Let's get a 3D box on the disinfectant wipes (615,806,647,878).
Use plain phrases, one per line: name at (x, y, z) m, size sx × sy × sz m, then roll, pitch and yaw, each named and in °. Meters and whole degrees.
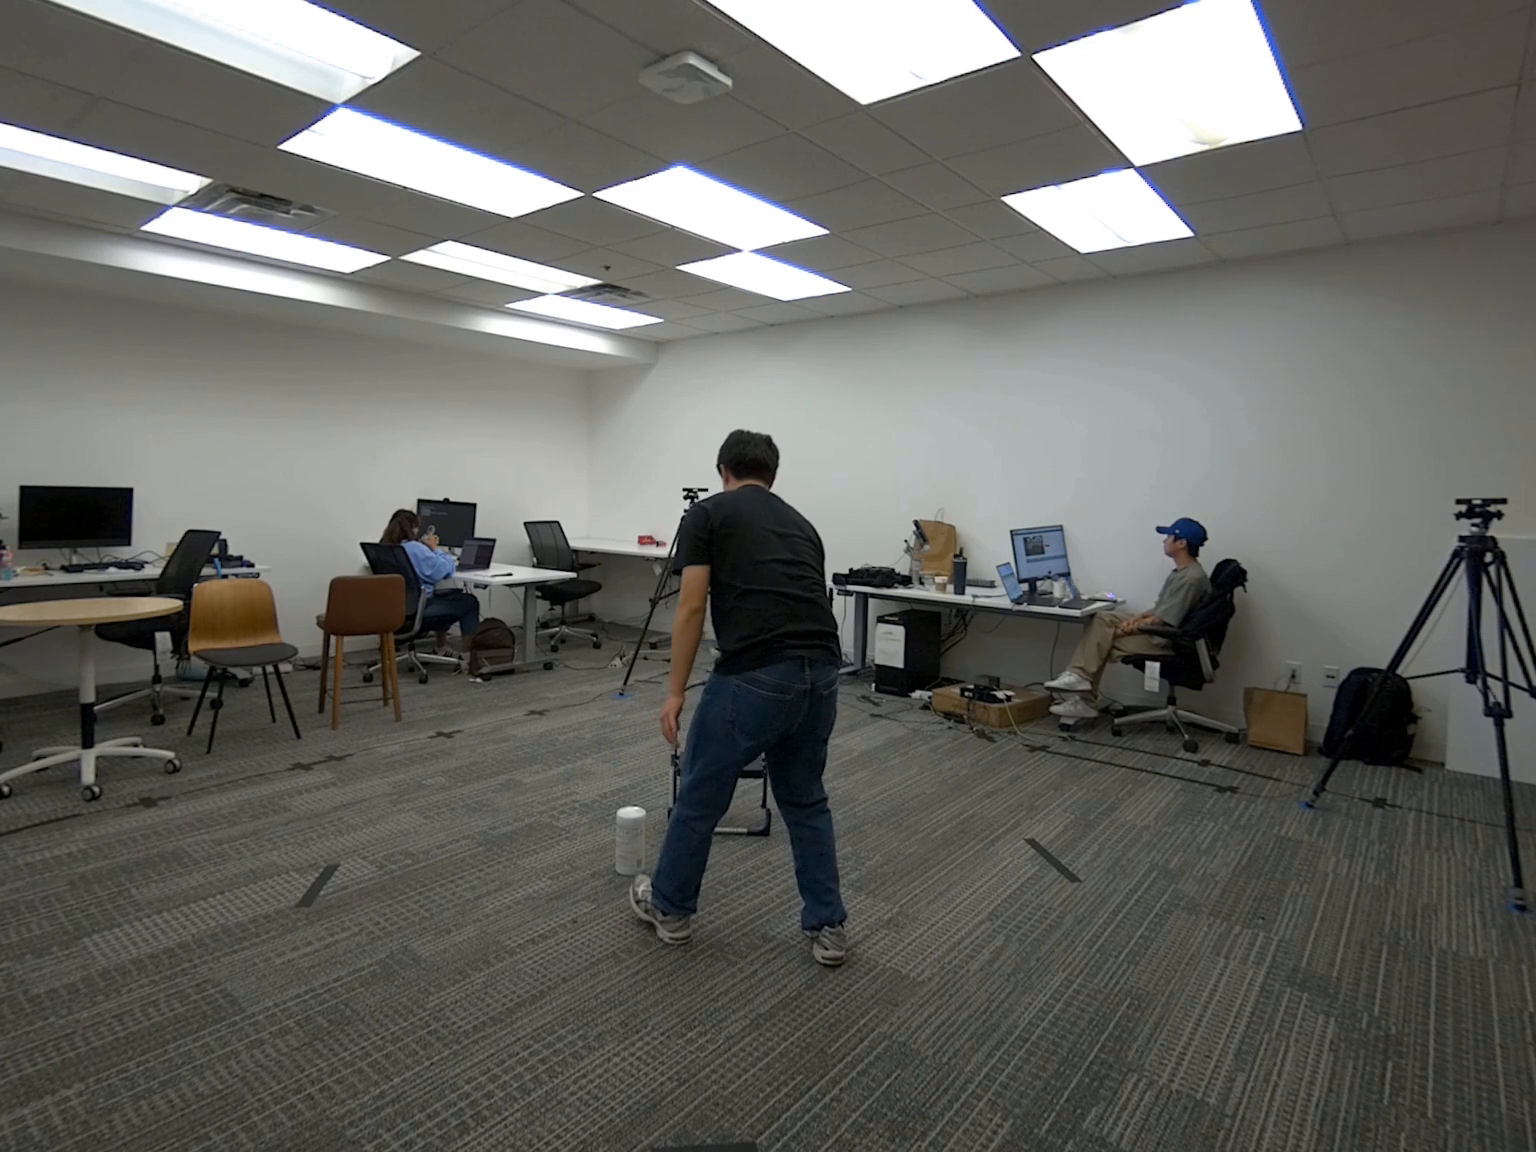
disinfectant wipes at (-0.507, 0.960, 3.091) m, size 0.118 × 0.217 × 0.118 m, roll 2°, pitch 2°, yaw -2°
